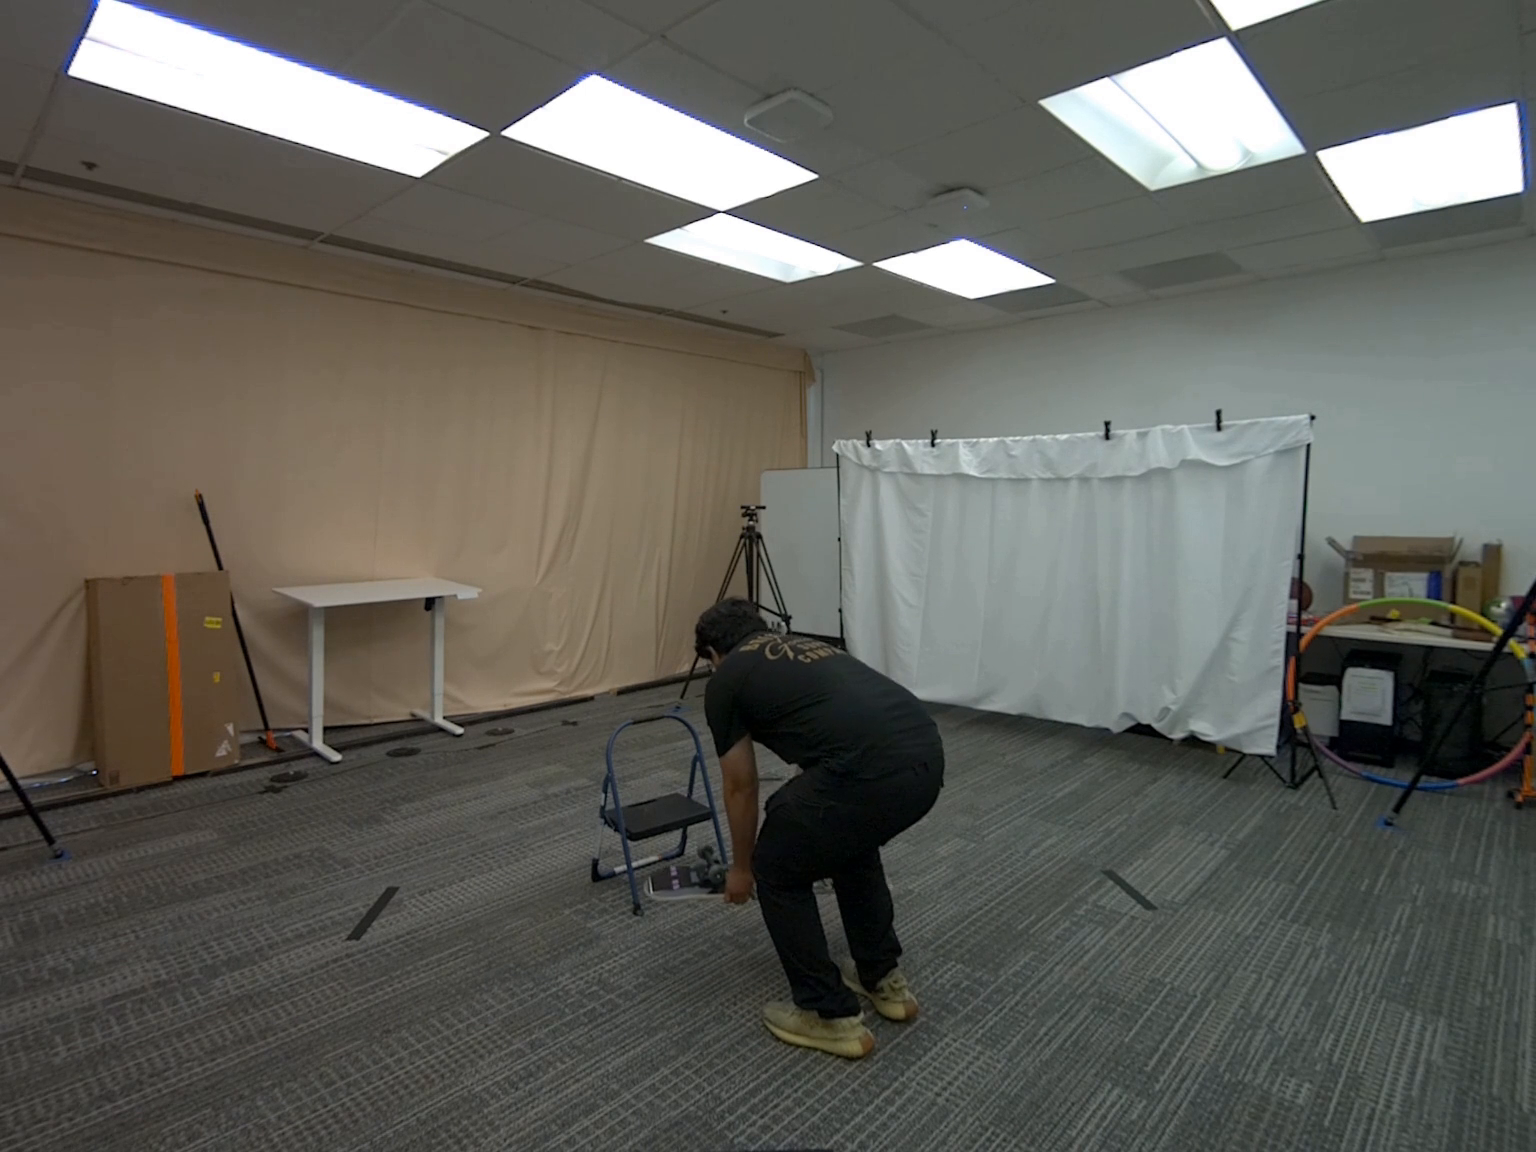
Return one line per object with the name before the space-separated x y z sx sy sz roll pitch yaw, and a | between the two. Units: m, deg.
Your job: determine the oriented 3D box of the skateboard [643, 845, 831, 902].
skateboard | 0.020 0.916 2.572 0.772 0.110 0.197 4 7 -15
